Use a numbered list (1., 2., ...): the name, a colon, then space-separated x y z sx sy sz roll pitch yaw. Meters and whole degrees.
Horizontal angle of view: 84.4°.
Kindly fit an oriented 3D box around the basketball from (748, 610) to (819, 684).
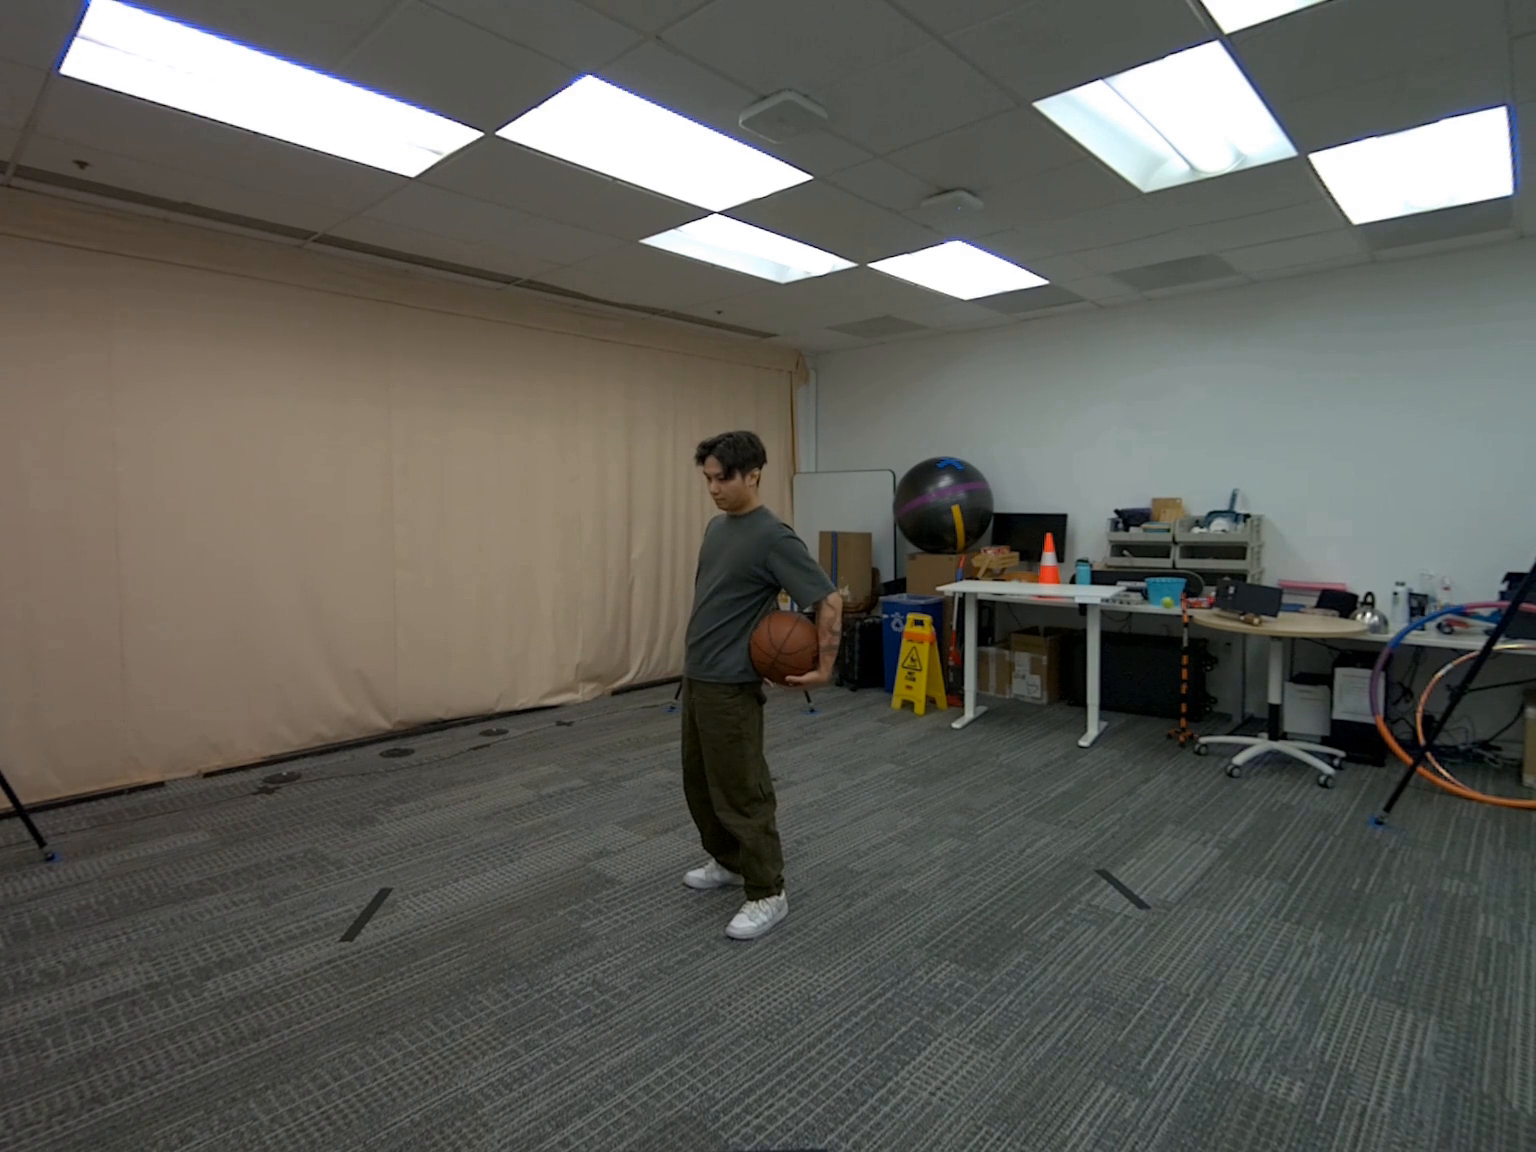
1. basketball: 0.070 0.228 2.741 0.236 0.235 0.237 0 4 -2
